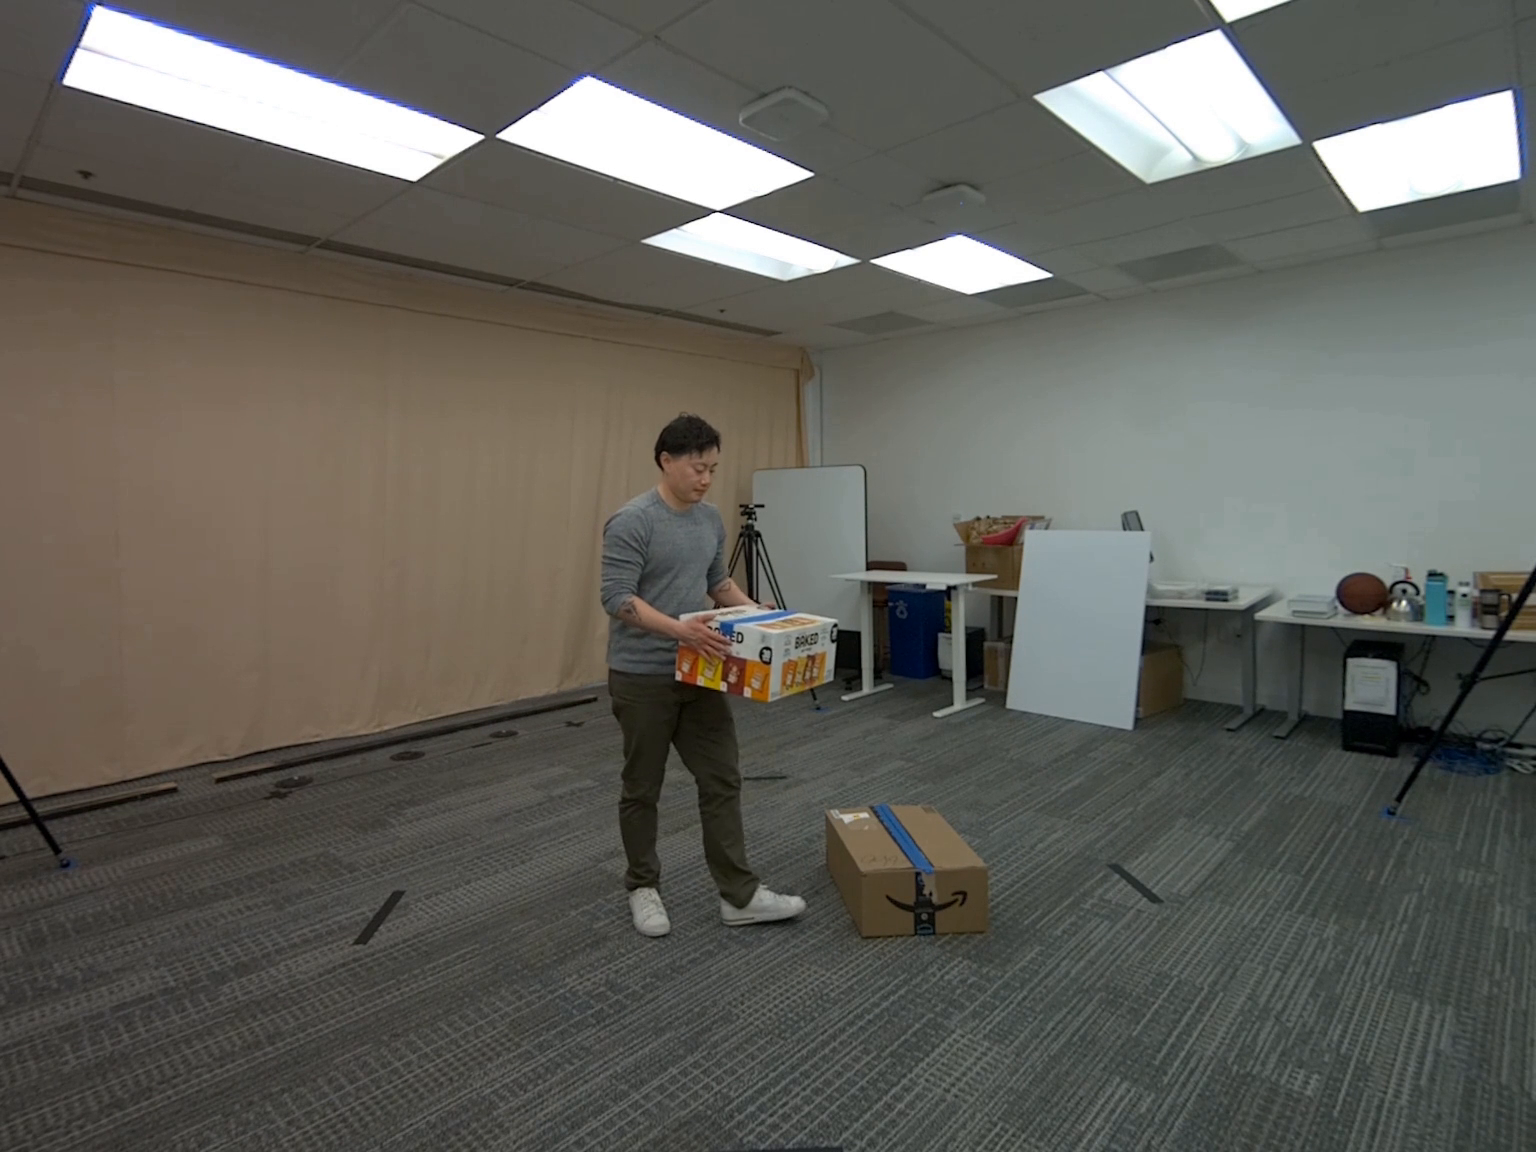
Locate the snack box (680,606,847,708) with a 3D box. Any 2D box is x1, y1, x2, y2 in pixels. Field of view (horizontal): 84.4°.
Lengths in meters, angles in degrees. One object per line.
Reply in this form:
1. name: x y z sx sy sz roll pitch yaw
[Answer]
1. snack box: -0.008 0.231 2.609 0.351 0.205 0.394 8 6 30
